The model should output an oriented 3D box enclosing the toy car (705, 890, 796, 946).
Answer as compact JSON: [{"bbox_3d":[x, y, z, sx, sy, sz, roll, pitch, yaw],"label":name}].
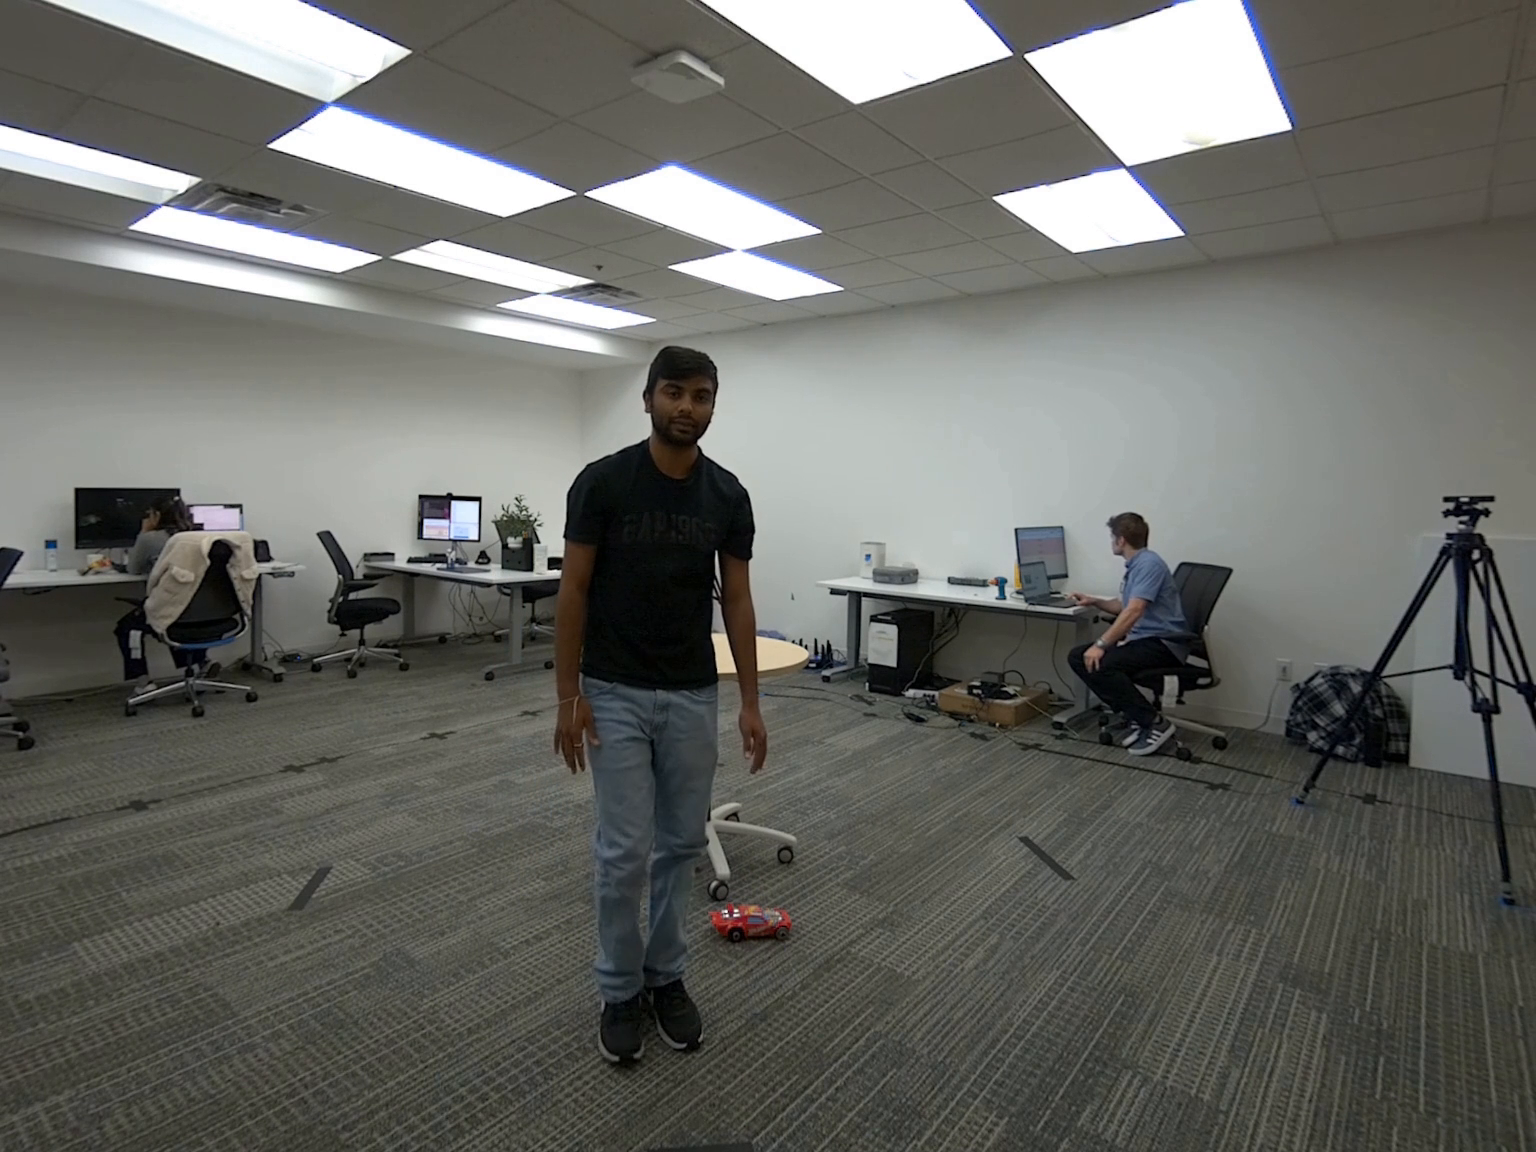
[{"bbox_3d":[-0.060,1.078,2.656,0.252,0.083,0.132,11,1,-9],"label":"toy car"}]
